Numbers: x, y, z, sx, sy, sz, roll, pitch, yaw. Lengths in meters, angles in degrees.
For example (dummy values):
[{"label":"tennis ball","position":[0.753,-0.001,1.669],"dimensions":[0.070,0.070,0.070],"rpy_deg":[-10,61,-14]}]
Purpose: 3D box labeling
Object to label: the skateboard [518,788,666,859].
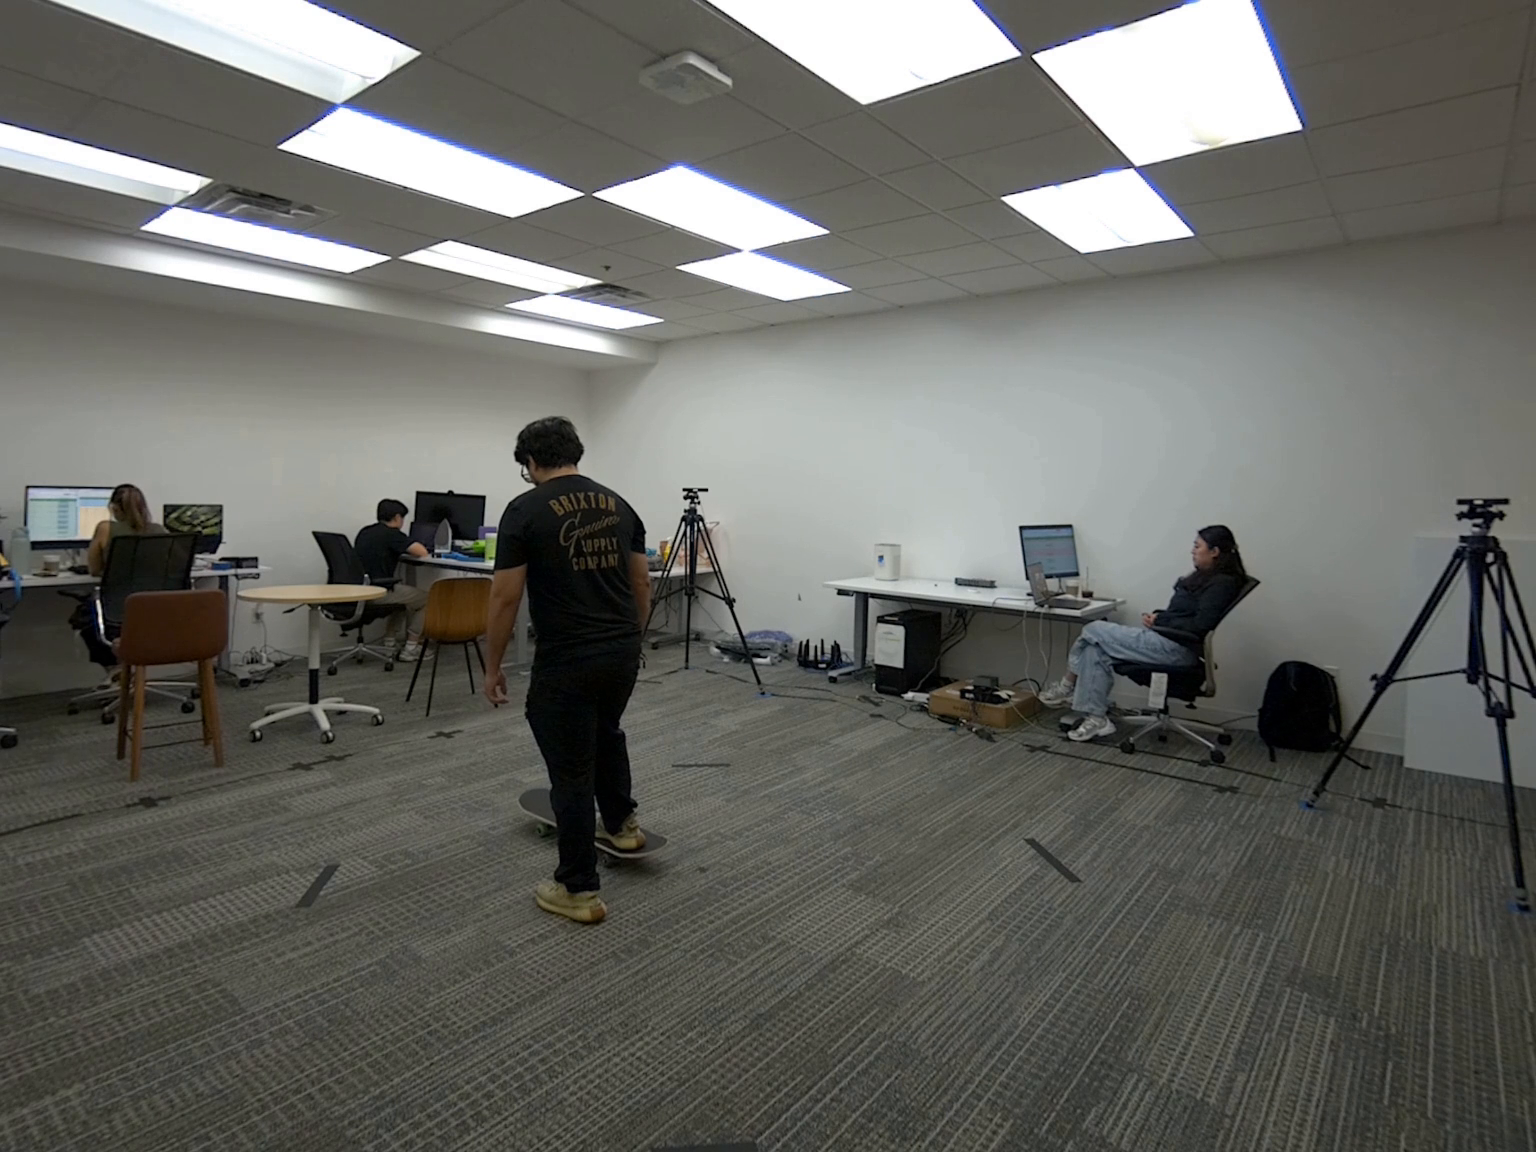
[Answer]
[{"label":"skateboard","position":[-0.710,0.983,3.297],"dimensions":[0.813,0.109,0.188],"rpy_deg":[7,12,40]}]
